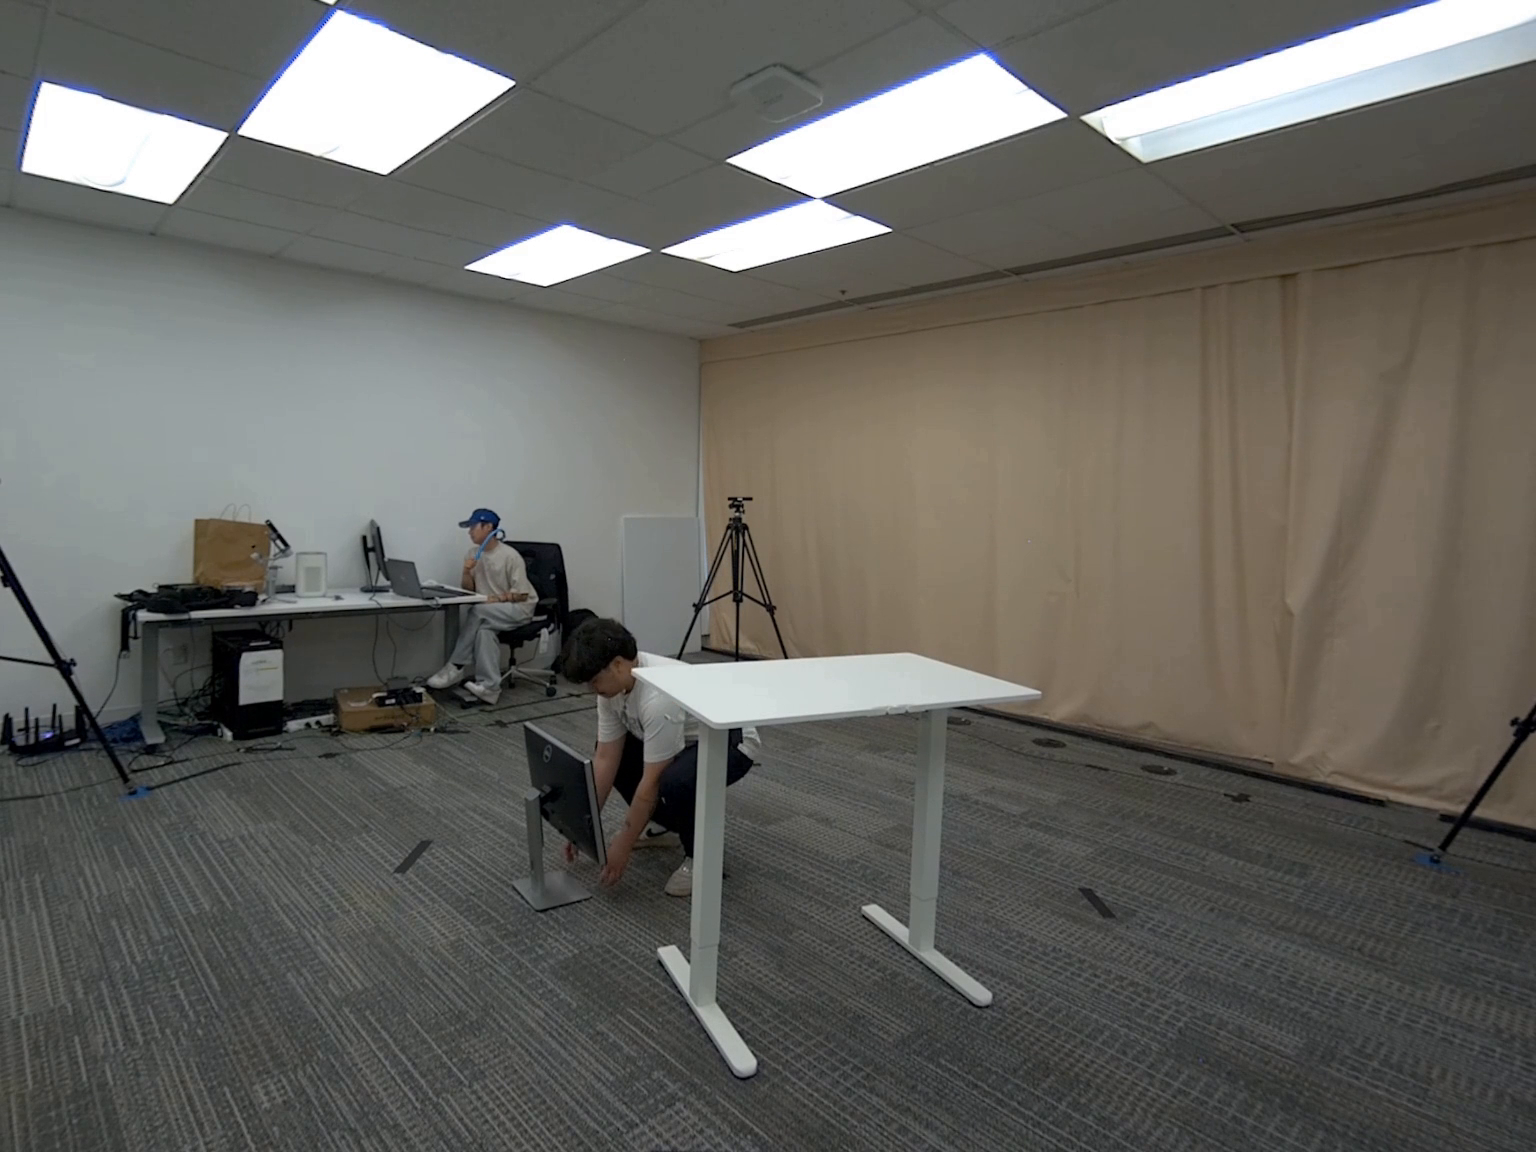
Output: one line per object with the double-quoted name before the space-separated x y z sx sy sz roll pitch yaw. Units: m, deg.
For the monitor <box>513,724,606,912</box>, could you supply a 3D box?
"monitor" -0.781 0.847 2.921 0.206 0.551 0.579 -7 9 -34
